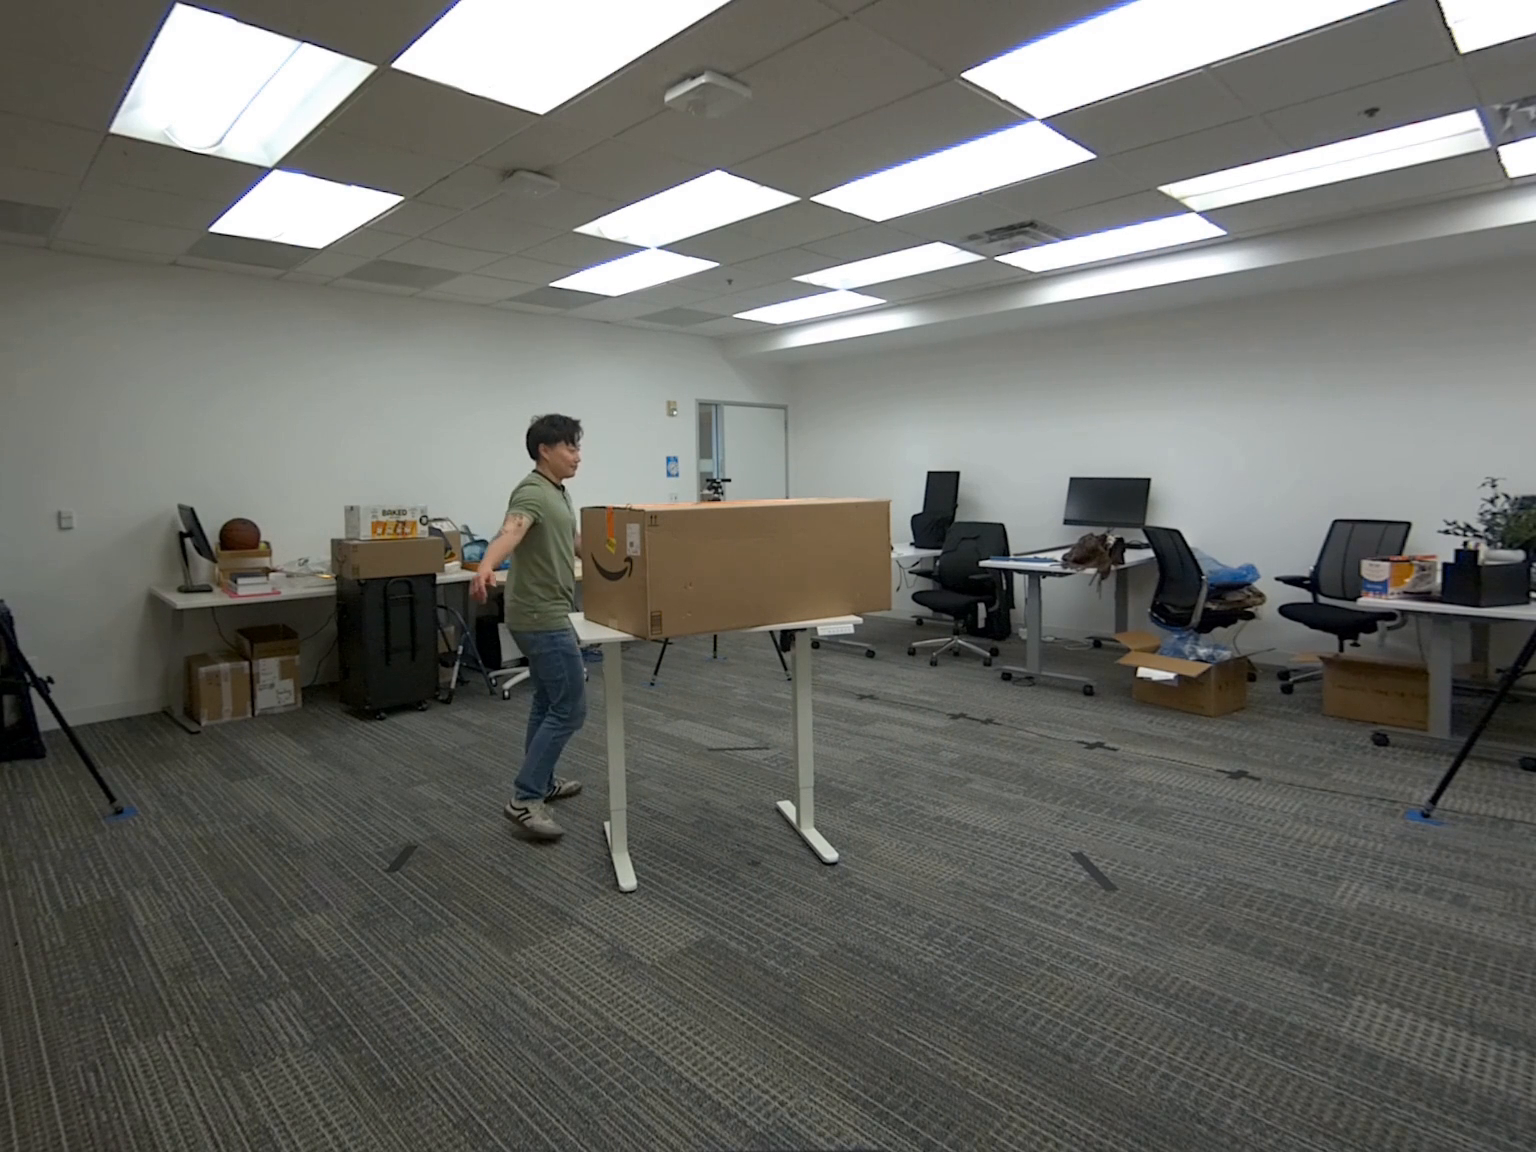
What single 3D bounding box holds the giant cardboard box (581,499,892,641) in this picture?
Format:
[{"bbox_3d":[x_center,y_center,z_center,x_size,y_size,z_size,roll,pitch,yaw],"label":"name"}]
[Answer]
[{"bbox_3d":[-0.119,-0.065,3.223,1.002,0.424,0.593,-5,6,-31],"label":"giant cardboard box"}]
